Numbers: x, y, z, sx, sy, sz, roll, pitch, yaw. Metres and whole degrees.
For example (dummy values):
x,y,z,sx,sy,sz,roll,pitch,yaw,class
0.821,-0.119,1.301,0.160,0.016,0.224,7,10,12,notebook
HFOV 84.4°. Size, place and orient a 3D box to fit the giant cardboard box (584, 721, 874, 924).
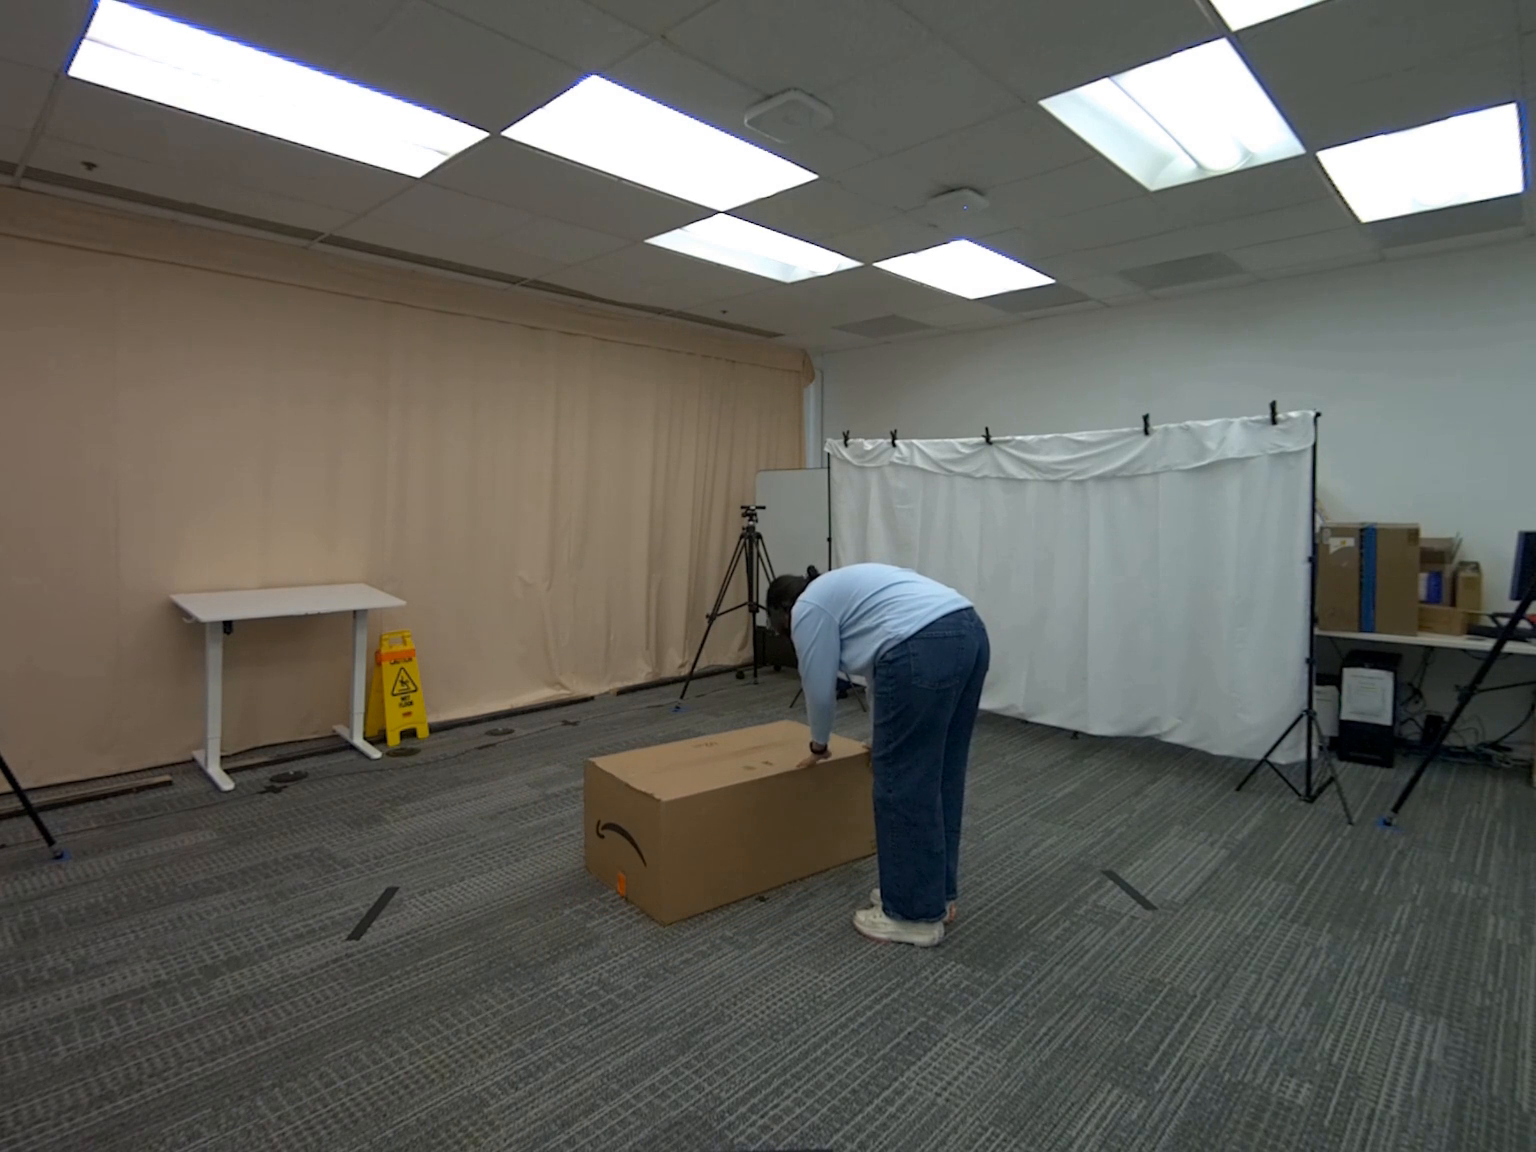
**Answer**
x,y,z,sx,sy,sz,roll,pitch,yaw,class
-0.132,0.908,3.302,0.996,0.425,0.596,-3,5,-36,giant cardboard box
